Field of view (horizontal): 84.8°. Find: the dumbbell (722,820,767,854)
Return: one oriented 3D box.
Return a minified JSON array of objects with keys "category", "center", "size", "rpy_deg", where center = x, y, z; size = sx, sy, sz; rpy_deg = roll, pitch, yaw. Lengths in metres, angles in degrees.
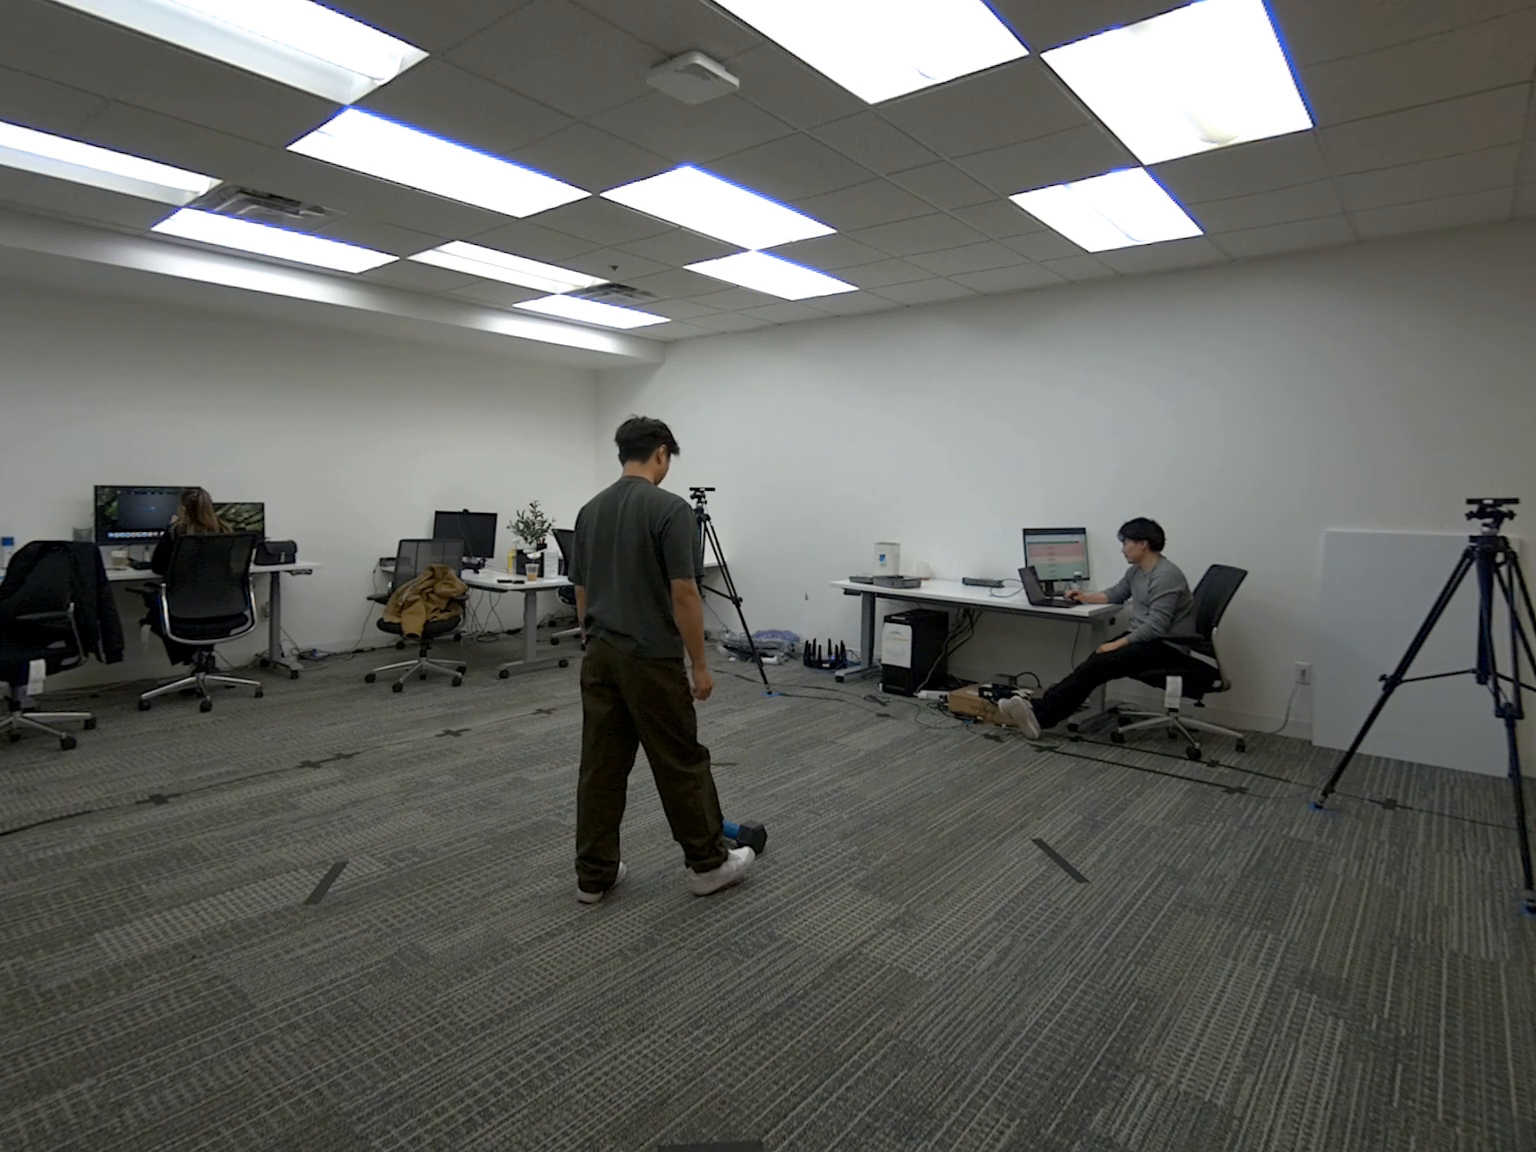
[{"category":"dumbbell","center":[-0.157,0.991,3.329],"size":[0.303,0.124,0.104],"rpy_deg":[5,-25,38]}]
